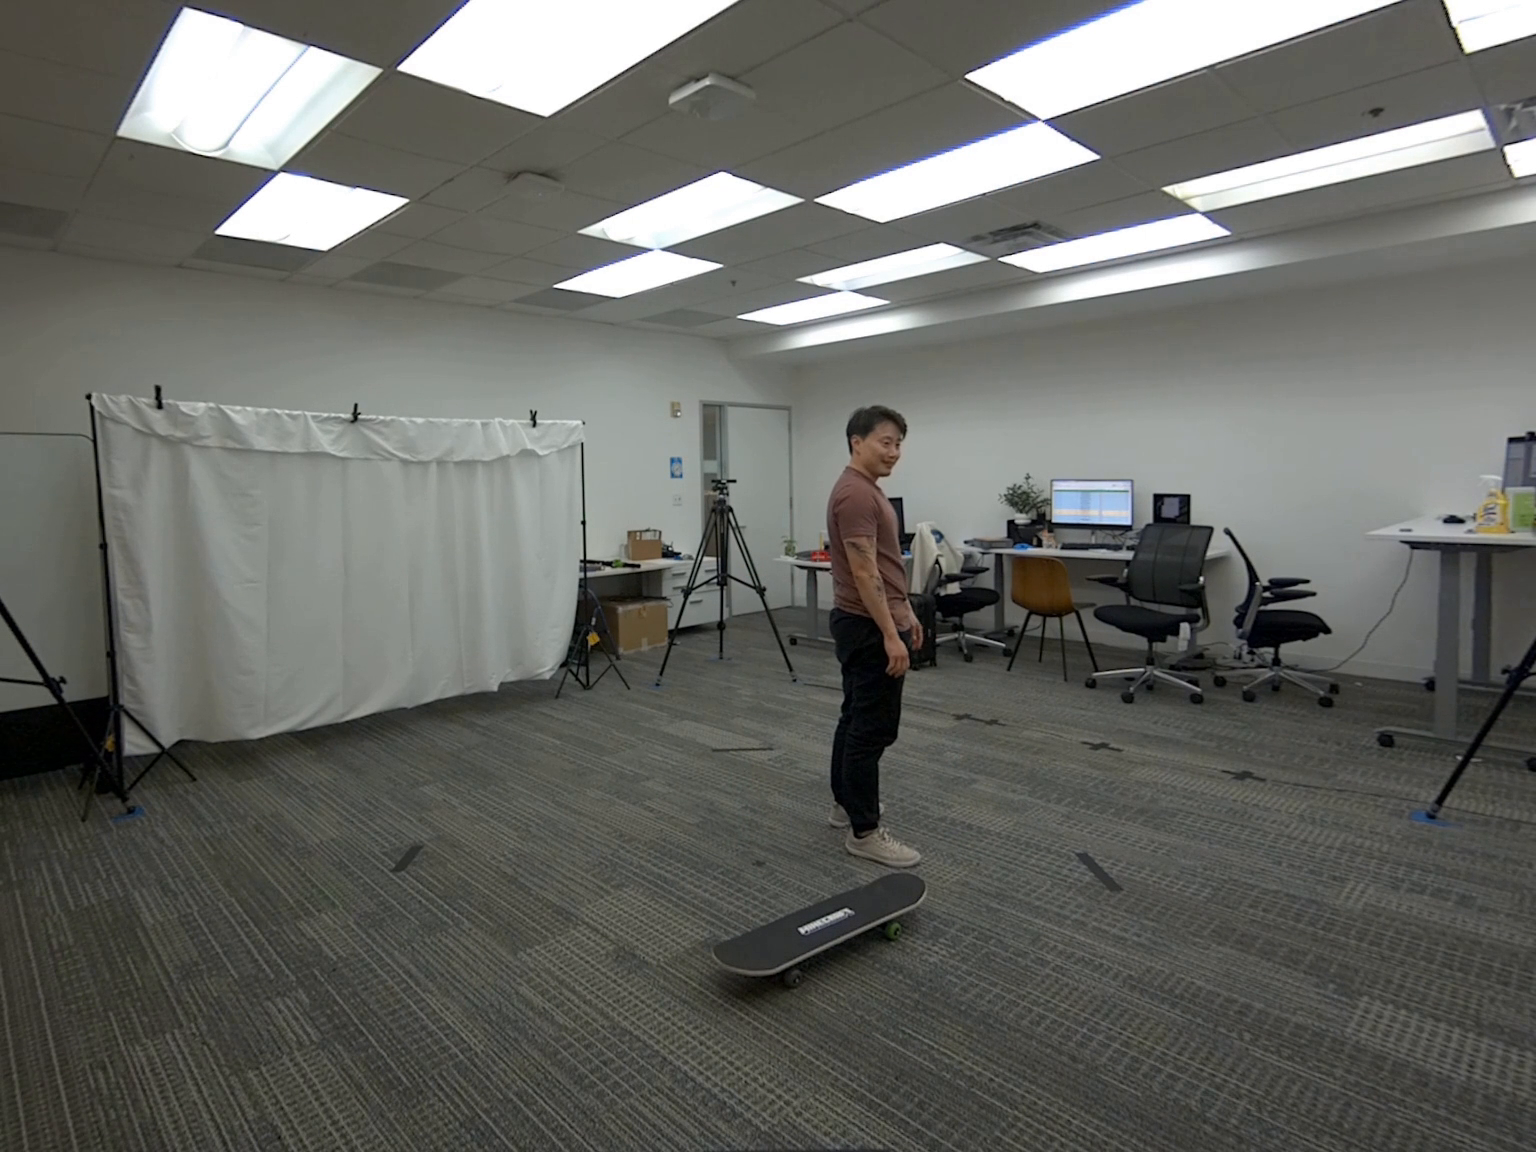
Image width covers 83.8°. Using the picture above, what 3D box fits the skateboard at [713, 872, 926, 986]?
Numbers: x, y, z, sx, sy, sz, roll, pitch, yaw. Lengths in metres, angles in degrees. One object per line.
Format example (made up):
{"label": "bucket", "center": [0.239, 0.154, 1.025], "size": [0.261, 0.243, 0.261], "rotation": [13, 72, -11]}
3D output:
{"label": "skateboard", "center": [0.180, 1.052, 2.533], "size": [0.766, 0.110, 0.199], "rotation": [-7, 8, -37]}
